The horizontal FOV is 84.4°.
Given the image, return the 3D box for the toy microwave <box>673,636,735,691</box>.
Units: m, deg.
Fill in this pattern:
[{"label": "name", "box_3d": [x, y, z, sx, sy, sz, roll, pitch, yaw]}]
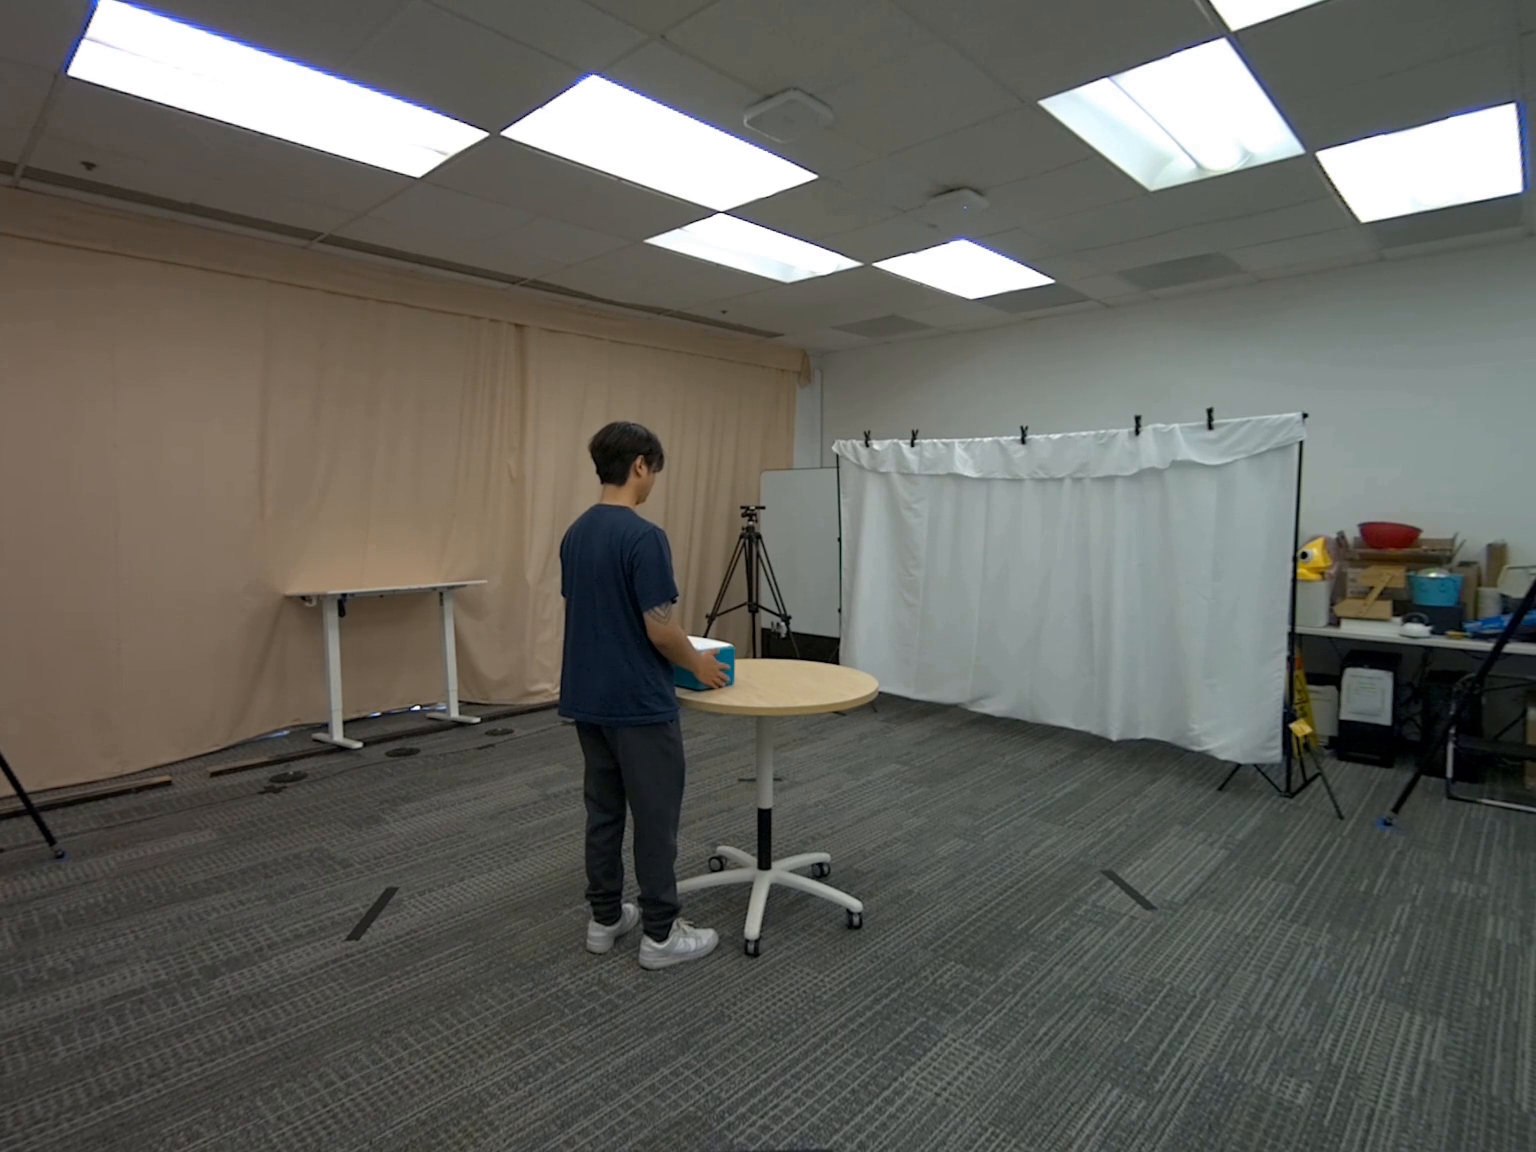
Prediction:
[{"label": "toy microwave", "box_3d": [-0.257, 0.283, 2.836, 0.296, 0.152, 0.178, 6, 4, 43]}]
